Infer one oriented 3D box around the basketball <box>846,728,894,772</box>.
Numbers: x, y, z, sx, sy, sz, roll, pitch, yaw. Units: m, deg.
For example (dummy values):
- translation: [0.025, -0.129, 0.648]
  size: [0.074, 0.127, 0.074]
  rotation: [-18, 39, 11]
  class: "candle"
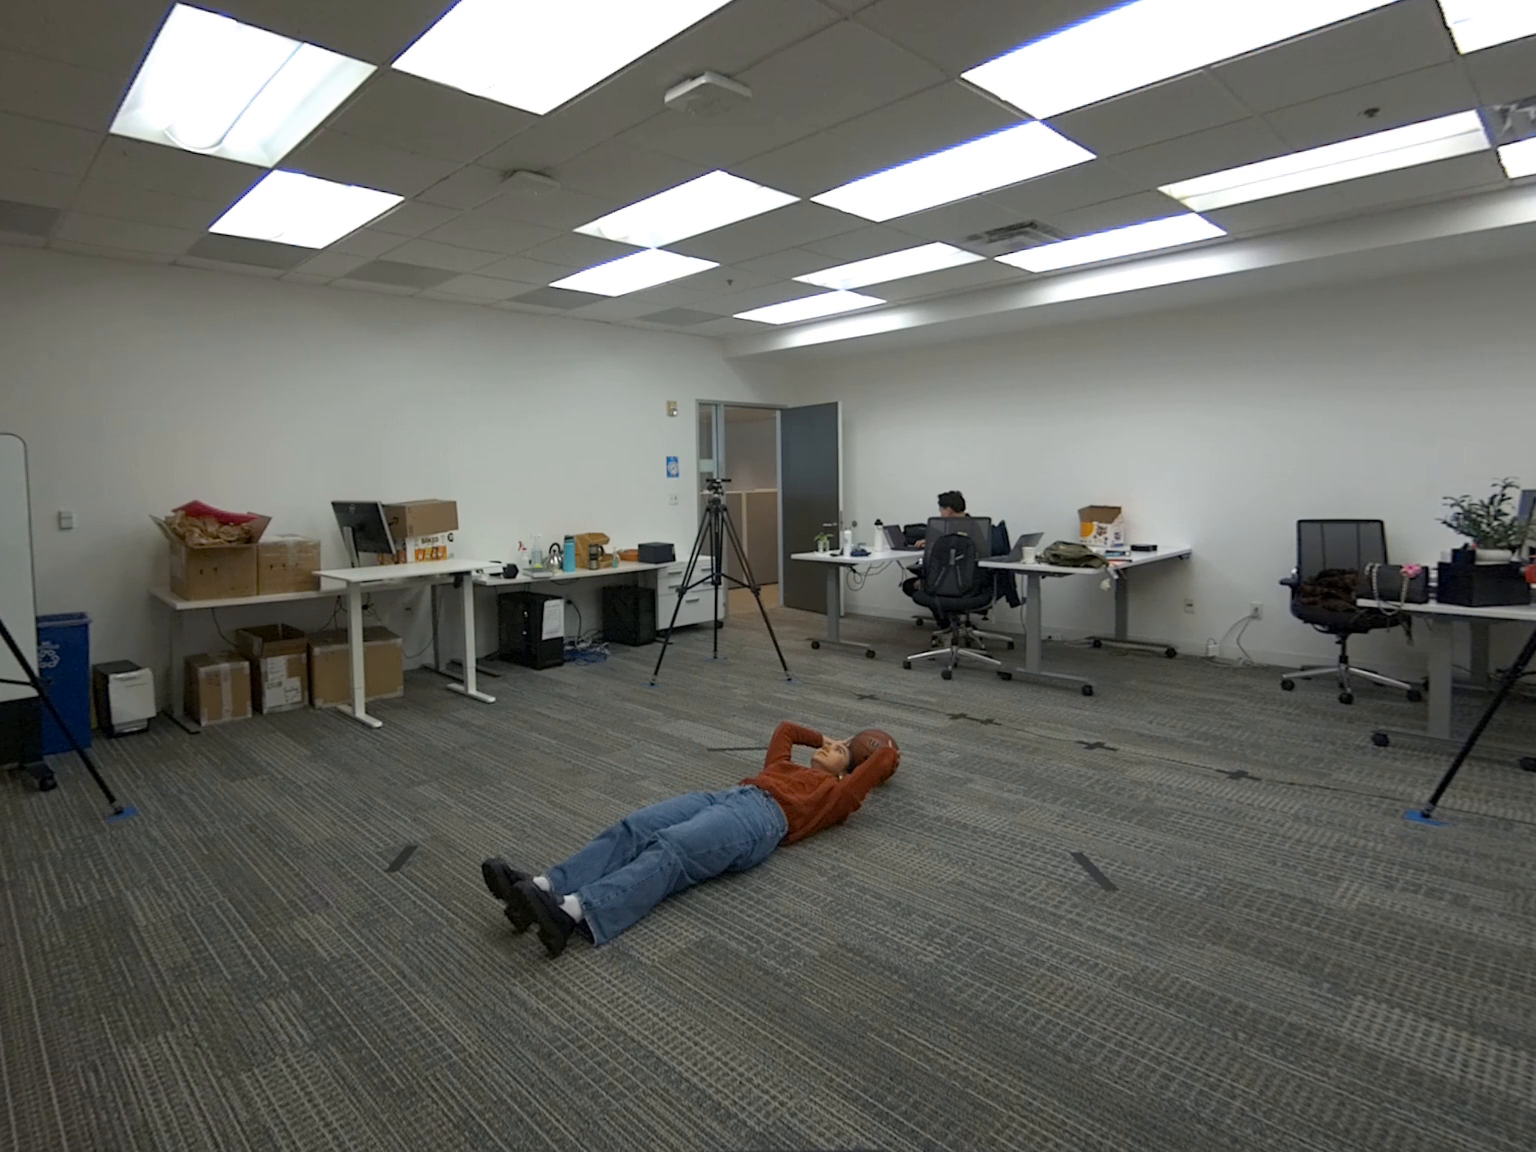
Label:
- translation: [0.495, 0.805, 3.914]
  size: [0.236, 0.236, 0.236]
  rotation: [0, 1, -2]
  class: "basketball"
